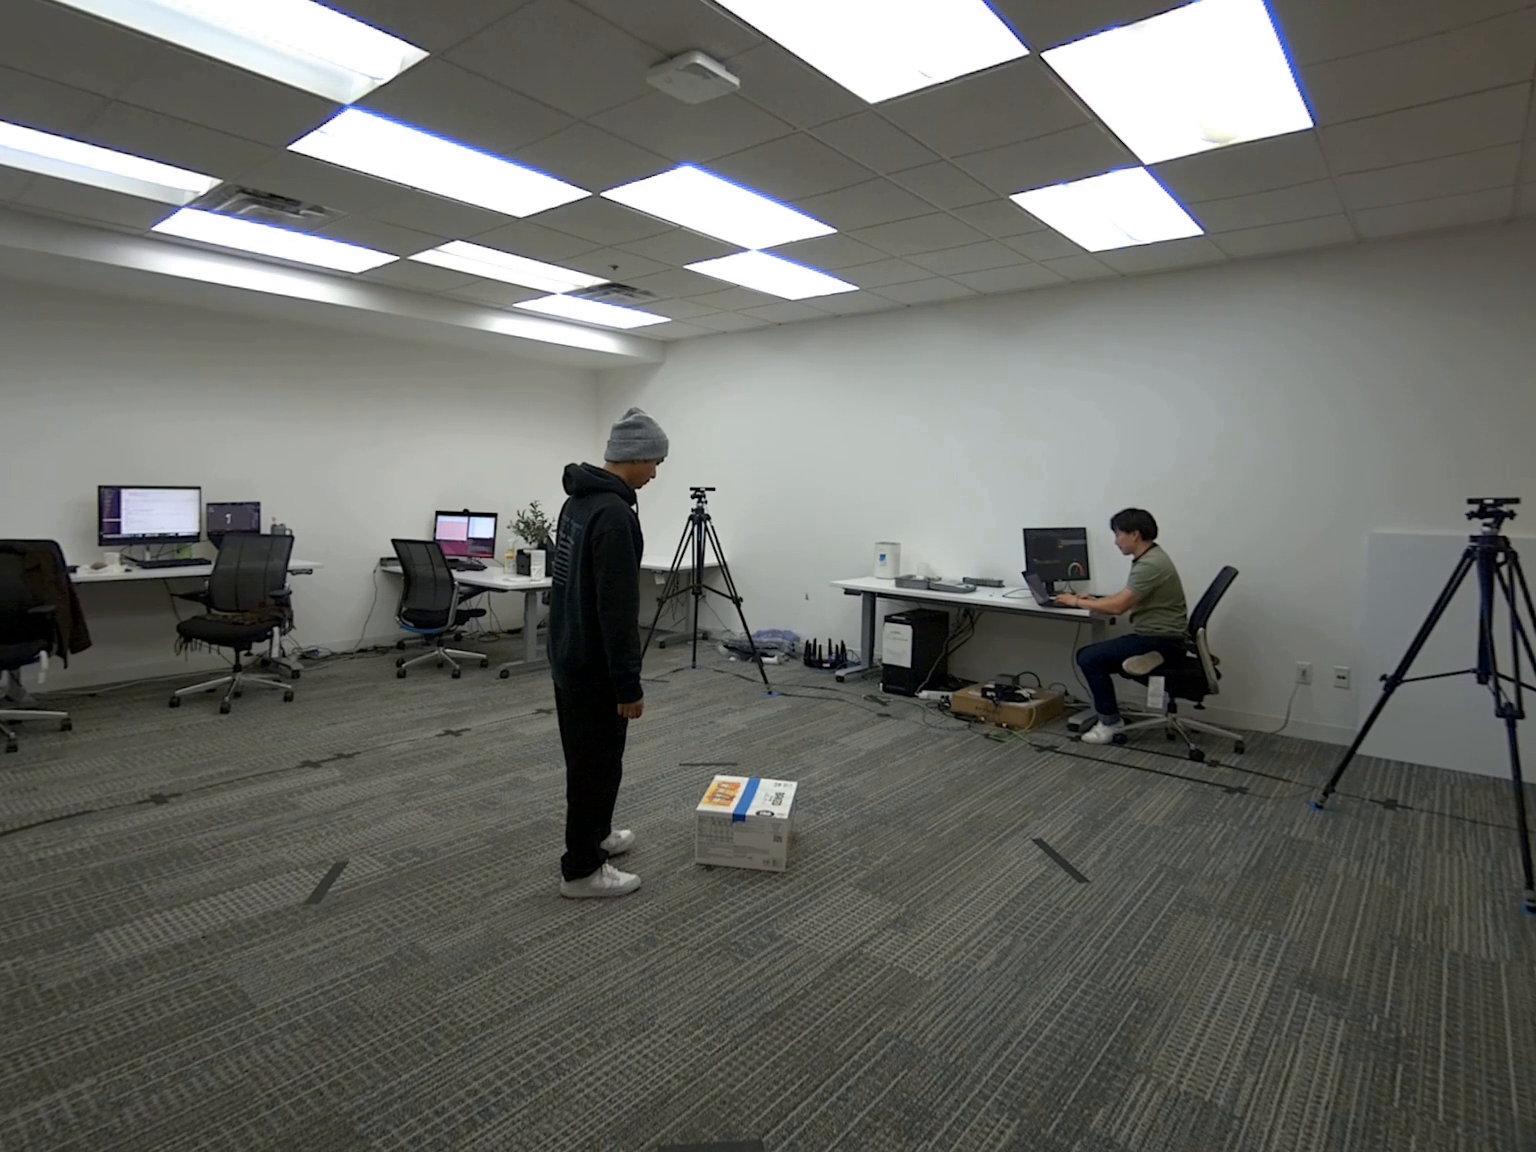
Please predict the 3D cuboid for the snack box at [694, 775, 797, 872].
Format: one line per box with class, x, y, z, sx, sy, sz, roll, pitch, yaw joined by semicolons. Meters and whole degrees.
snack box;-0.085;0.948;3.303;0.344;0.205;0.402;2;5;9
